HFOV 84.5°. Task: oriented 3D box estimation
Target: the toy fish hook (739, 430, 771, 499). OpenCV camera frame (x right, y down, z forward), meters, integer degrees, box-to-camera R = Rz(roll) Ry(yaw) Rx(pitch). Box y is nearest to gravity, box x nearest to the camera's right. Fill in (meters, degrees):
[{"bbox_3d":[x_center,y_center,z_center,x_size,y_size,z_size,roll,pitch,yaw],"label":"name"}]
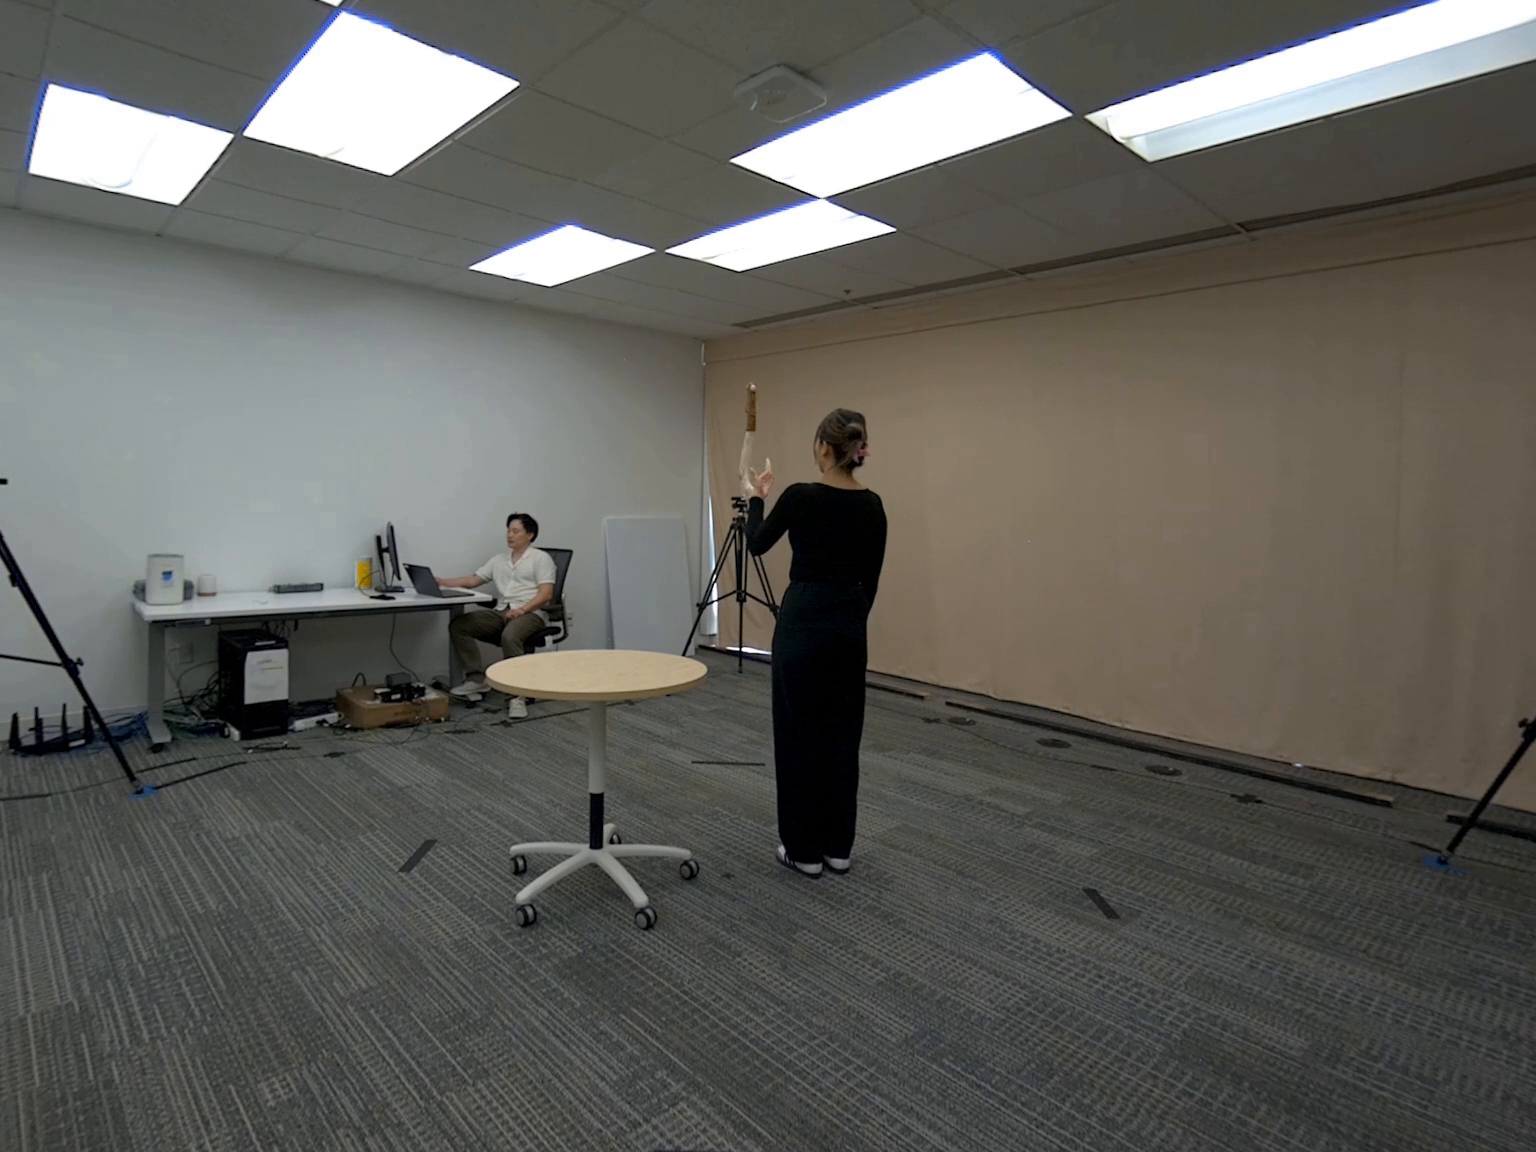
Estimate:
[{"bbox_3d":[-0.055,-0.516,3.575,0.047,0.503,0.231,-5,13,-37],"label":"toy fish hook"}]
